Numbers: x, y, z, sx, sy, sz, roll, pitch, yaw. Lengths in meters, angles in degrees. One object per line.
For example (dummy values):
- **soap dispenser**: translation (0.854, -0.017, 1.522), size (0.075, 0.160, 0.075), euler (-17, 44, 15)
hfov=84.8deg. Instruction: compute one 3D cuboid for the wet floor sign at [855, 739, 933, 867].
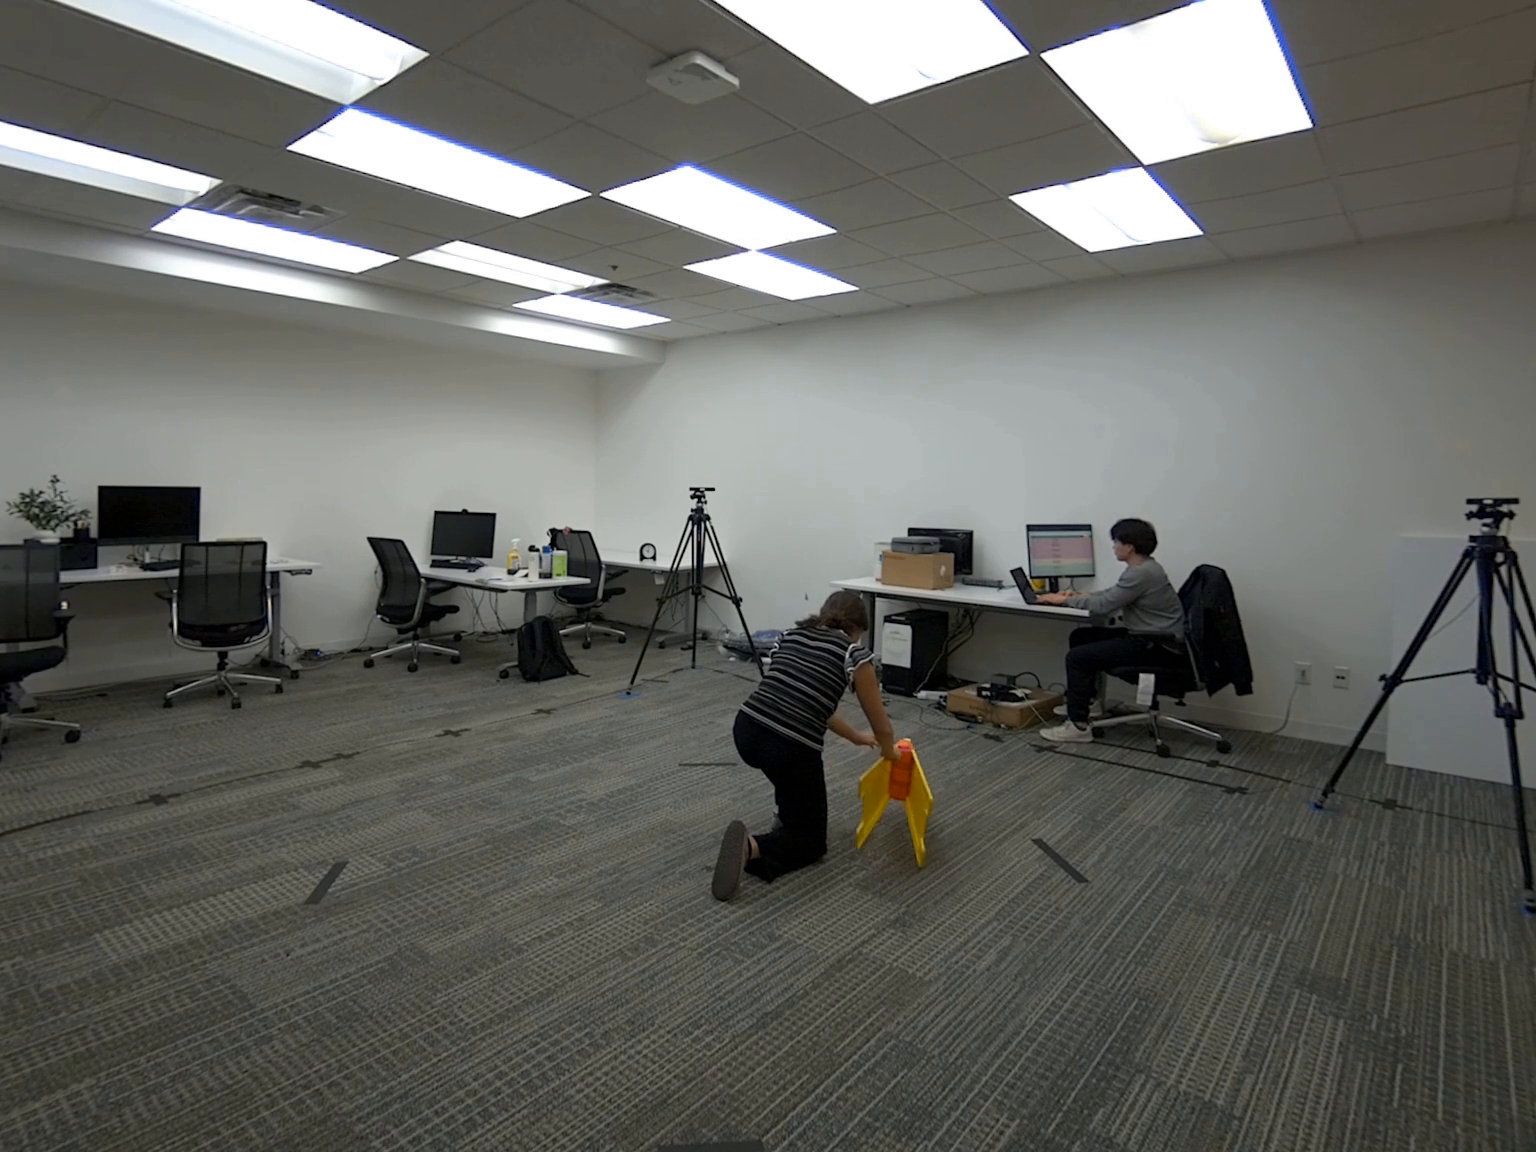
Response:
- **wet floor sign**: translation (0.525, 0.862, 3.450), size (0.295, 0.279, 0.641), euler (7, 12, 13)
